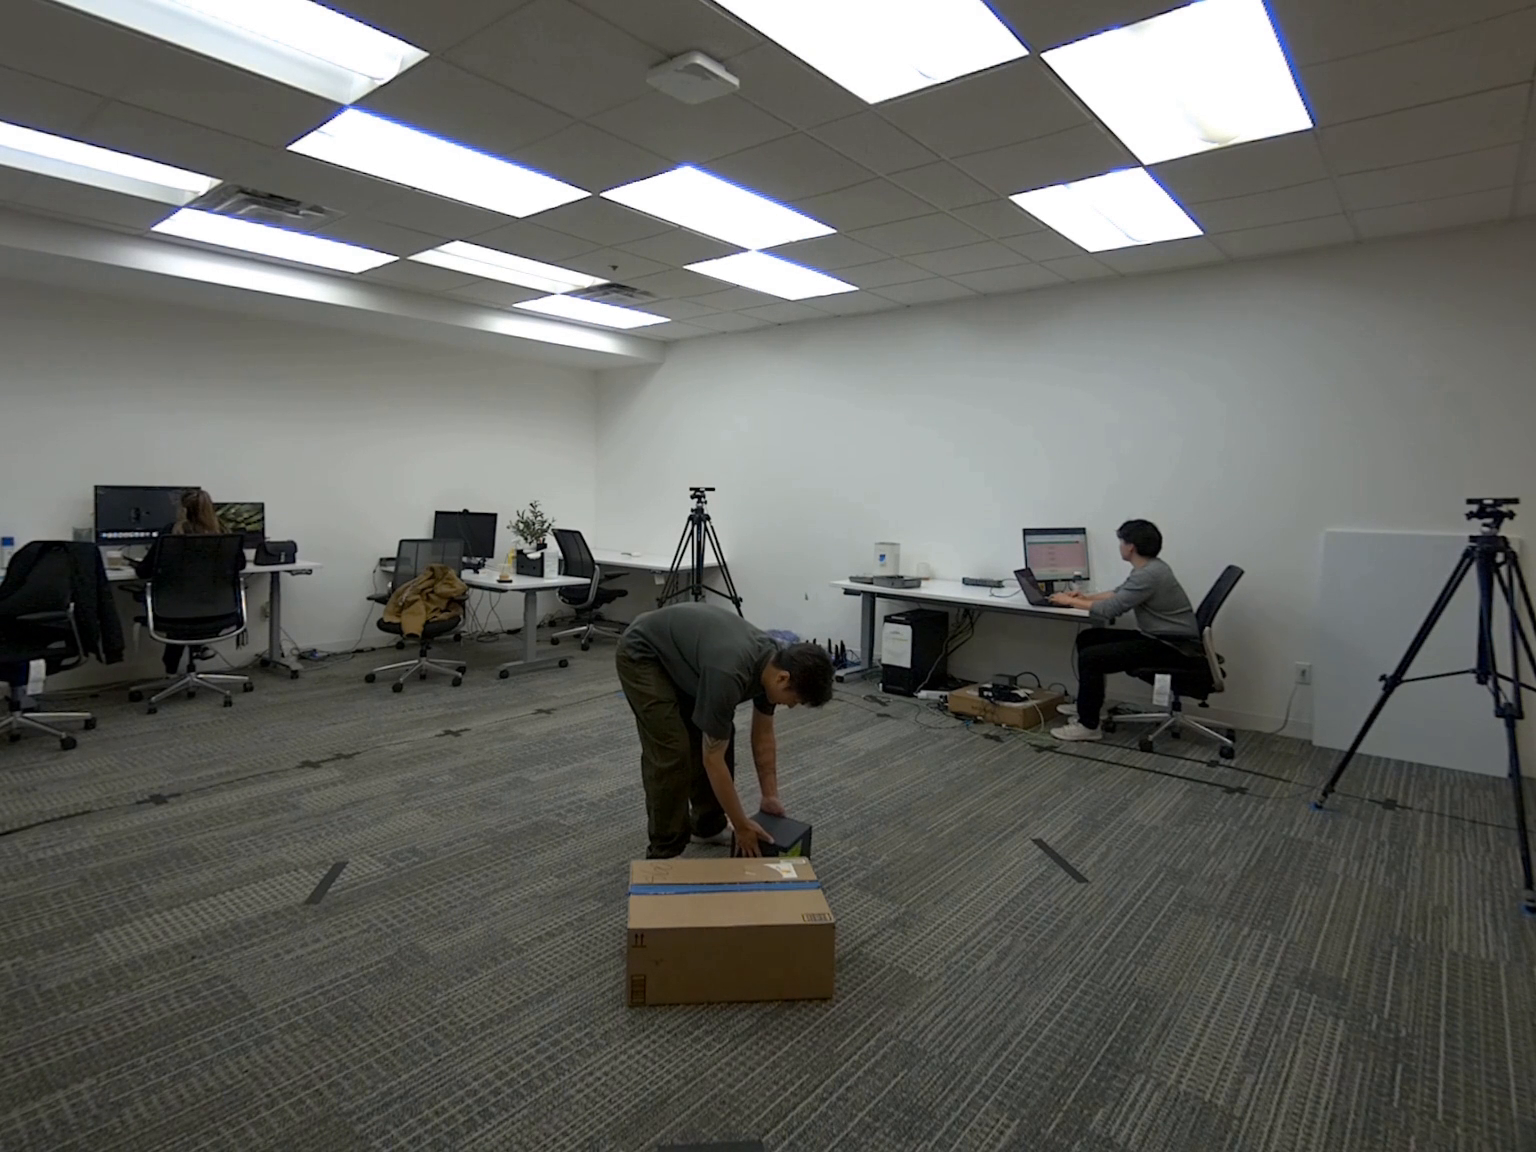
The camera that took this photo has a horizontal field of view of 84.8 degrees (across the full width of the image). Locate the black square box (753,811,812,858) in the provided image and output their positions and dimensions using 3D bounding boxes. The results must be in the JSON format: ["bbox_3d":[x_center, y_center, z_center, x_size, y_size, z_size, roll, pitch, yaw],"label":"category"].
[{"bbox_3d":[0.008,0.973,3.026,0.223,0.155,0.223,7,6,25],"label":"black square box"}]
